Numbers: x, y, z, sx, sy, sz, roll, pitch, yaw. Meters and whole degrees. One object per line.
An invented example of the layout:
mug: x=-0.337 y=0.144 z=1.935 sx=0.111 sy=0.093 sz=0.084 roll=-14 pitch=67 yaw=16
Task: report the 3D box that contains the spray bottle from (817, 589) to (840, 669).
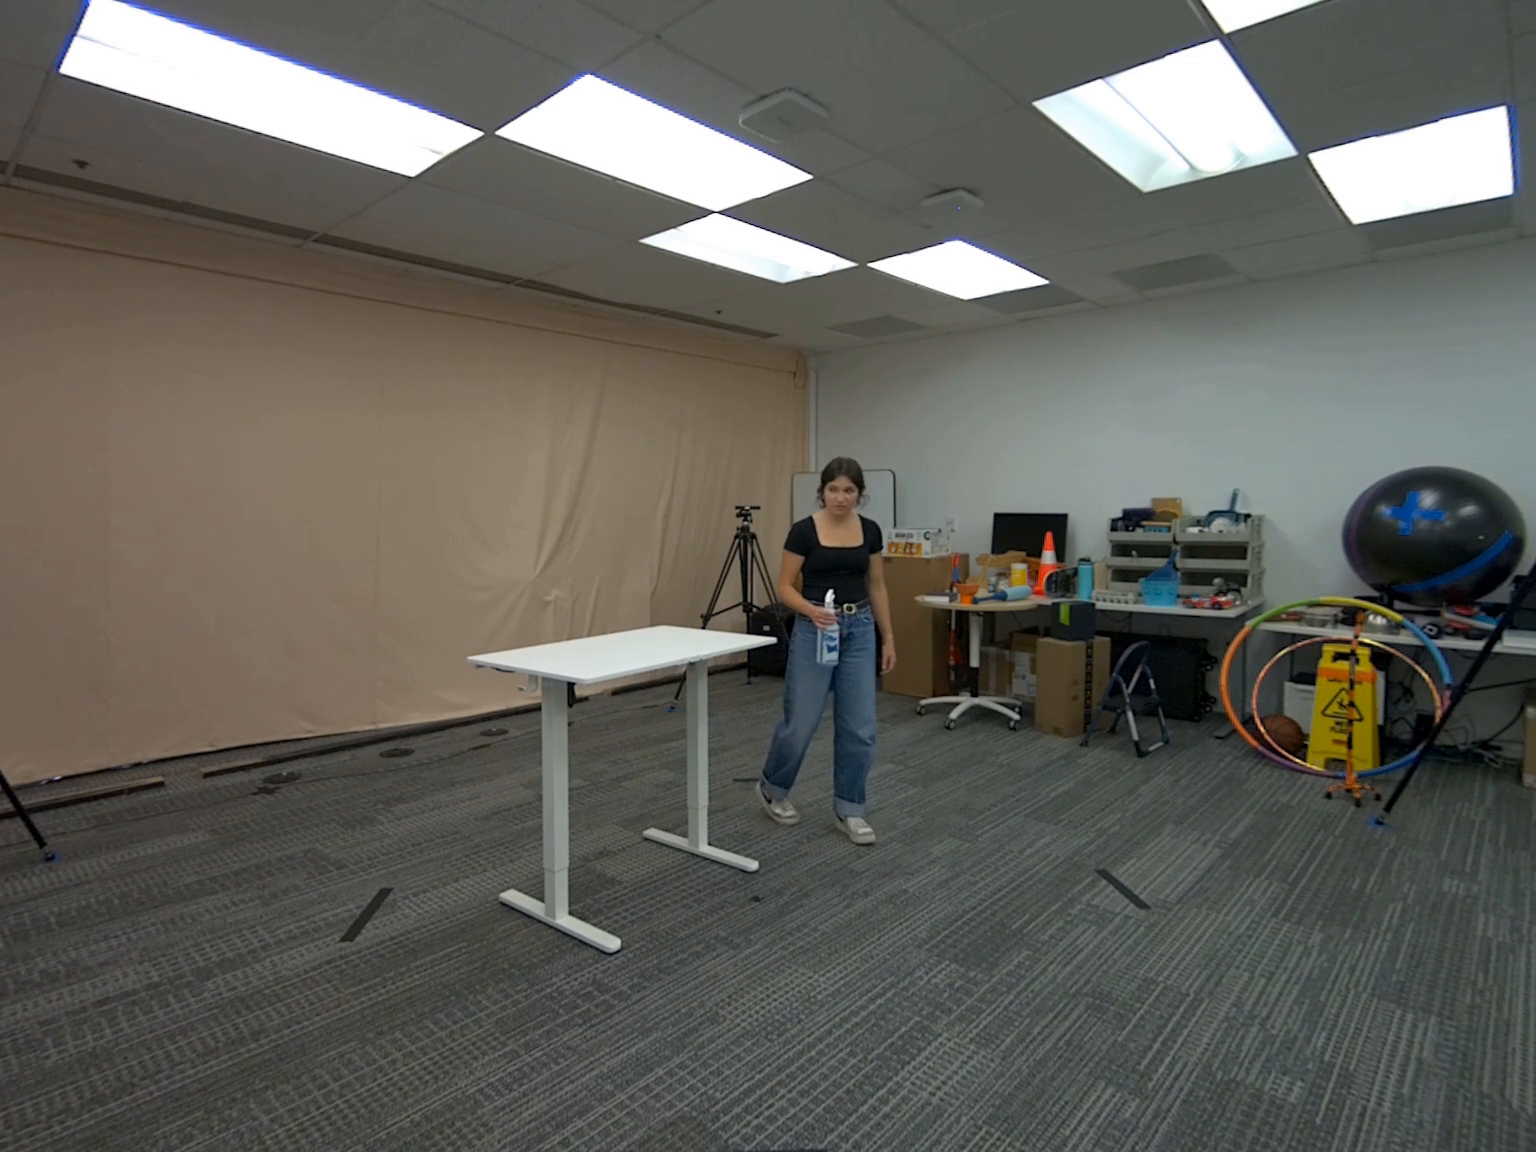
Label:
spray bottle: x=0.236 y=0.208 z=3.353 sx=0.090 sy=0.295 sz=0.087 roll=13 pitch=15 yaw=35
